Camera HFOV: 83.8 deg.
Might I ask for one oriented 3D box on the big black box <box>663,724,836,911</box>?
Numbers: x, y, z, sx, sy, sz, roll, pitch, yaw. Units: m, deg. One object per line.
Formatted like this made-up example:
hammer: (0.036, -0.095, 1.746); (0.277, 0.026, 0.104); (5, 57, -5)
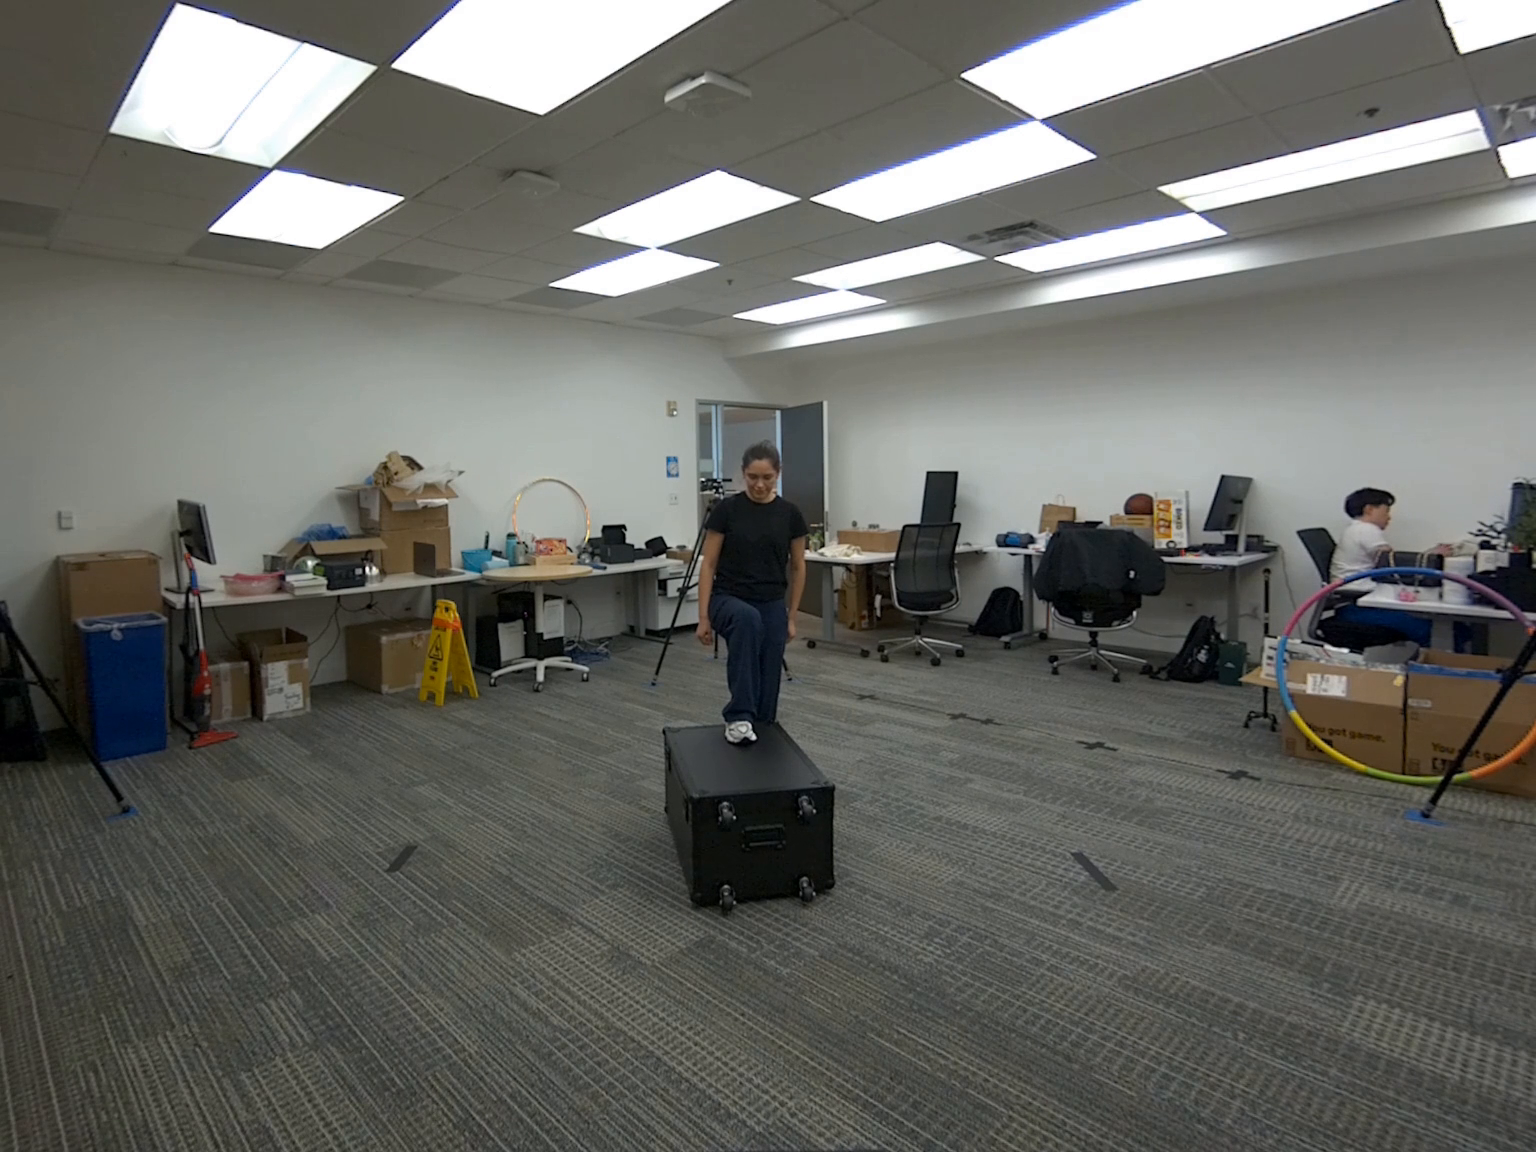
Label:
big black box: (-0.099, 0.844, 3.164); (0.515, 0.394, 0.875); (-2, 6, -13)
